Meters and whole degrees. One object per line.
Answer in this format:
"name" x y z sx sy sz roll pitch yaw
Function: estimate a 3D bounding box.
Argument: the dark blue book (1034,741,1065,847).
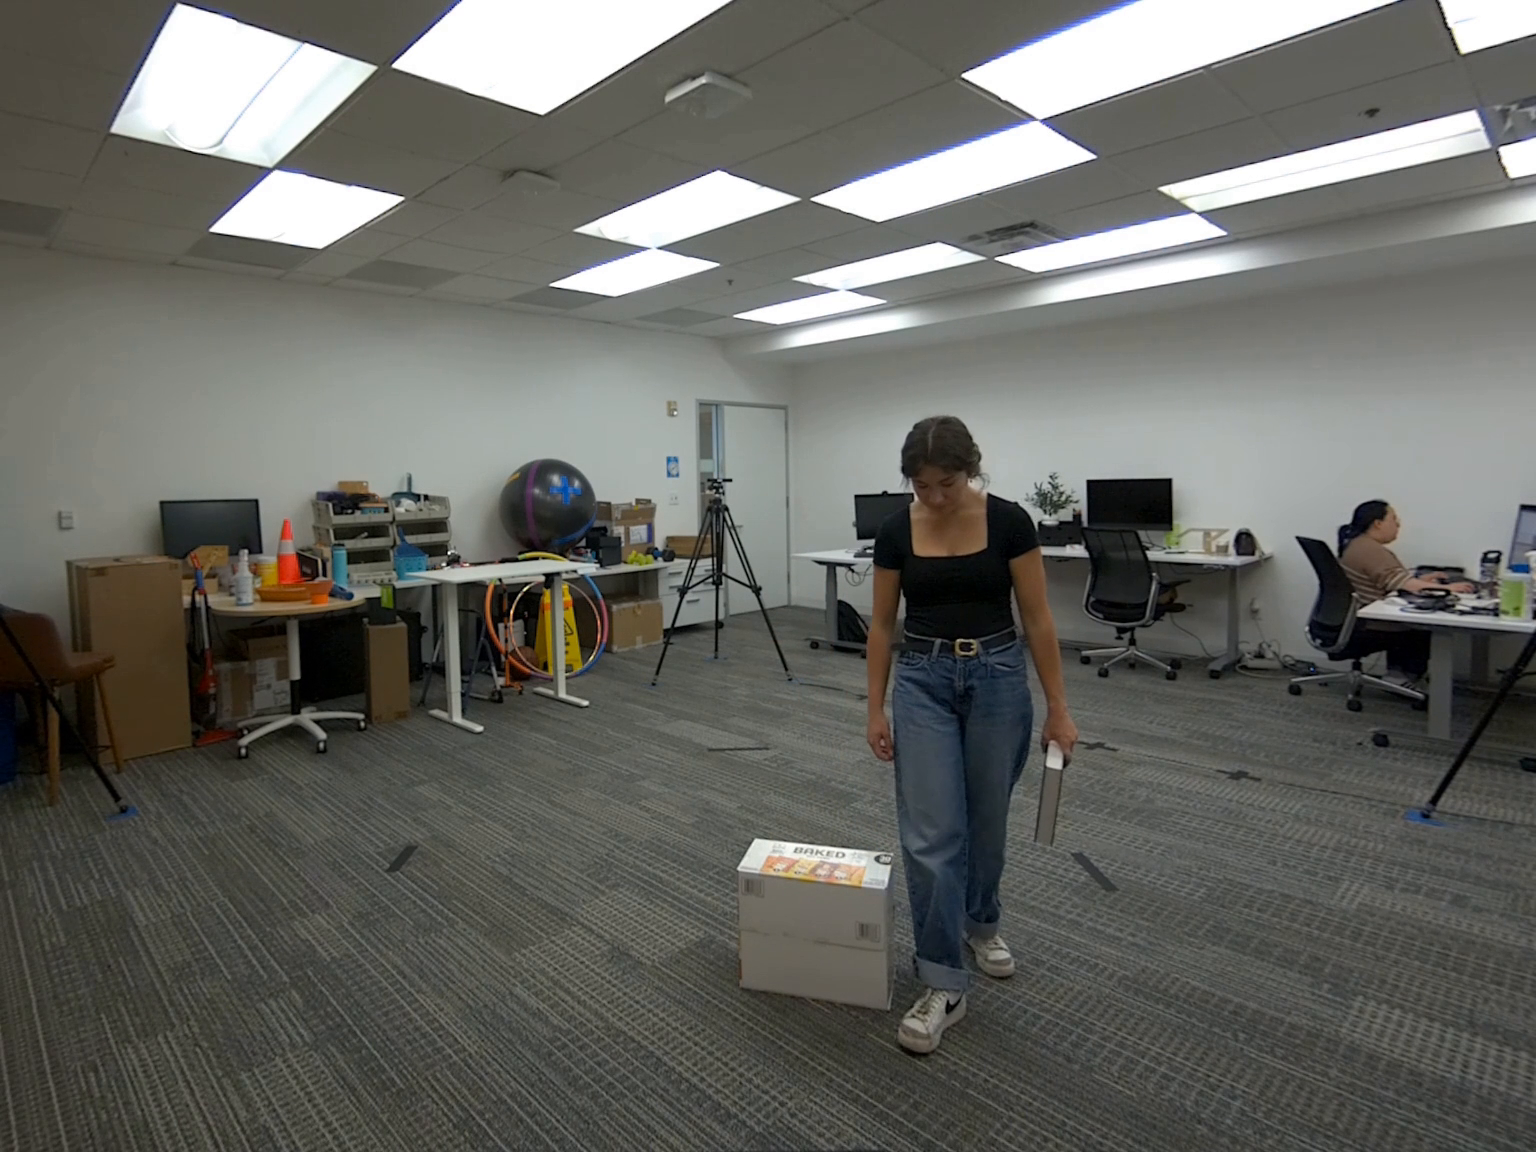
"dark blue book" 0.729 0.540 2.202 0.046 0.241 0.163 4 17 17
